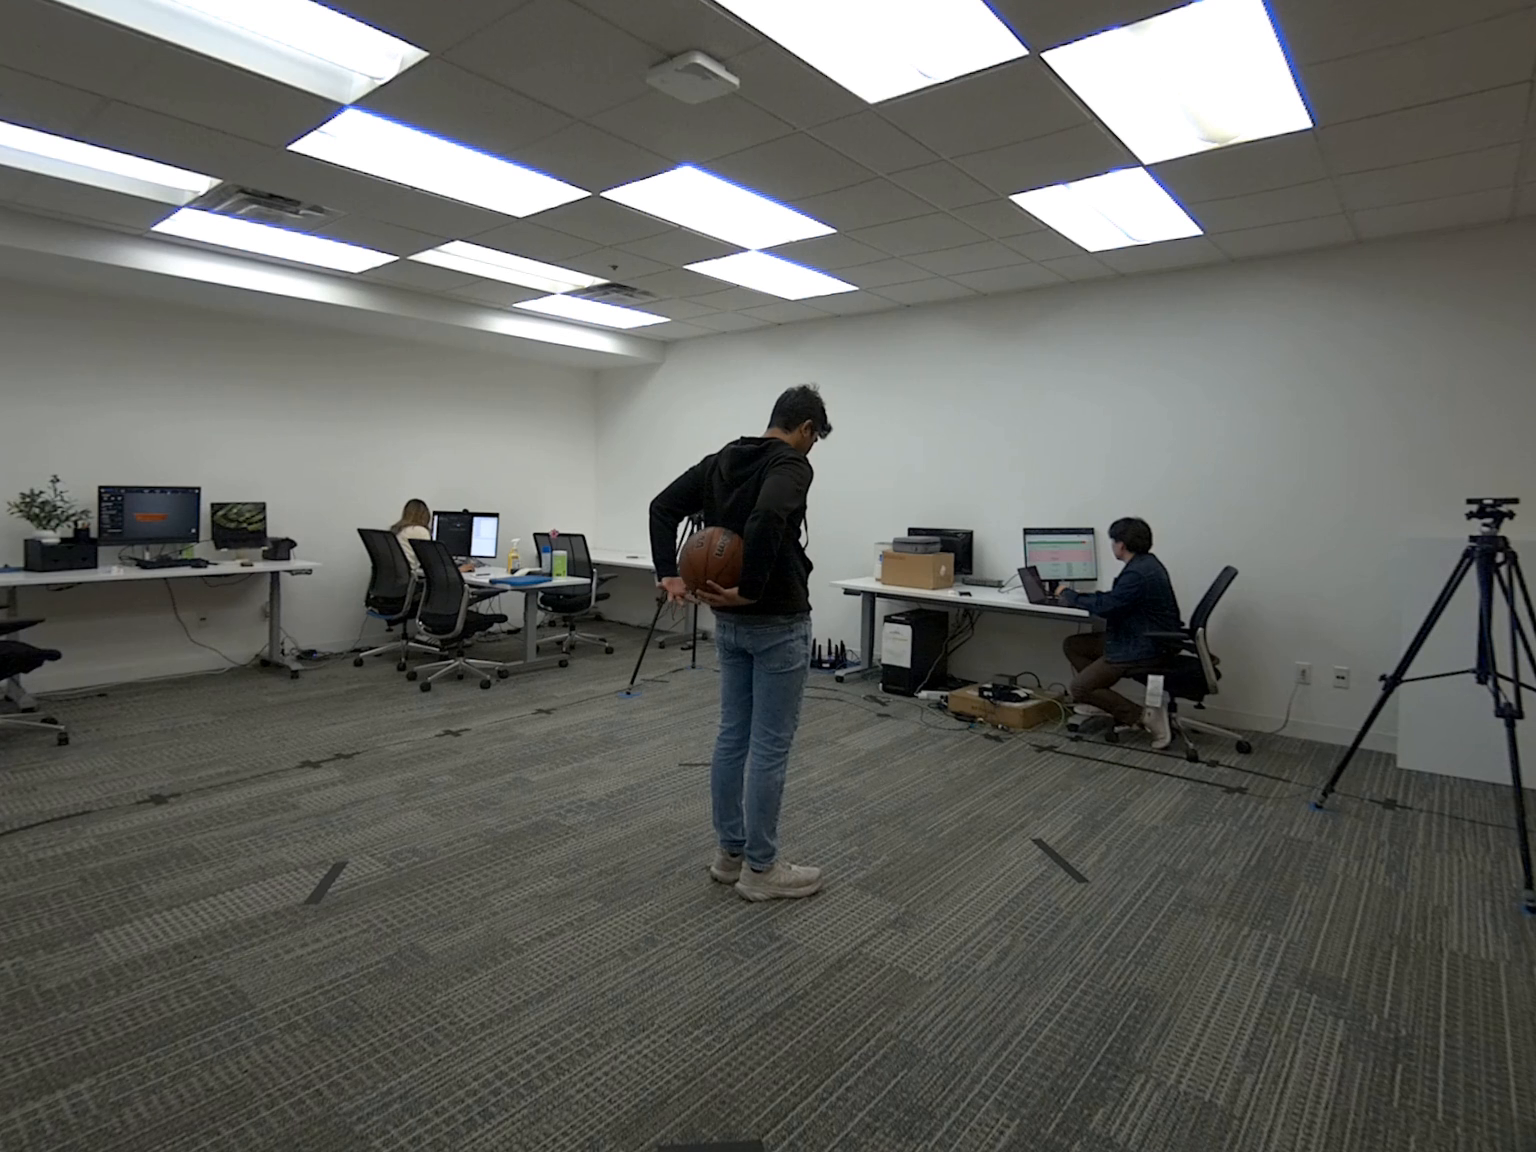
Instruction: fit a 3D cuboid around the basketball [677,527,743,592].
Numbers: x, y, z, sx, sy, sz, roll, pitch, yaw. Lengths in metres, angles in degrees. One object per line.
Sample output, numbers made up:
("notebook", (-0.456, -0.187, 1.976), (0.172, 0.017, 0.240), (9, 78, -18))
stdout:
("basketball", (-0.171, -0.047, 2.787), (0.235, 0.235, 0.237), (1, 4, -2))
